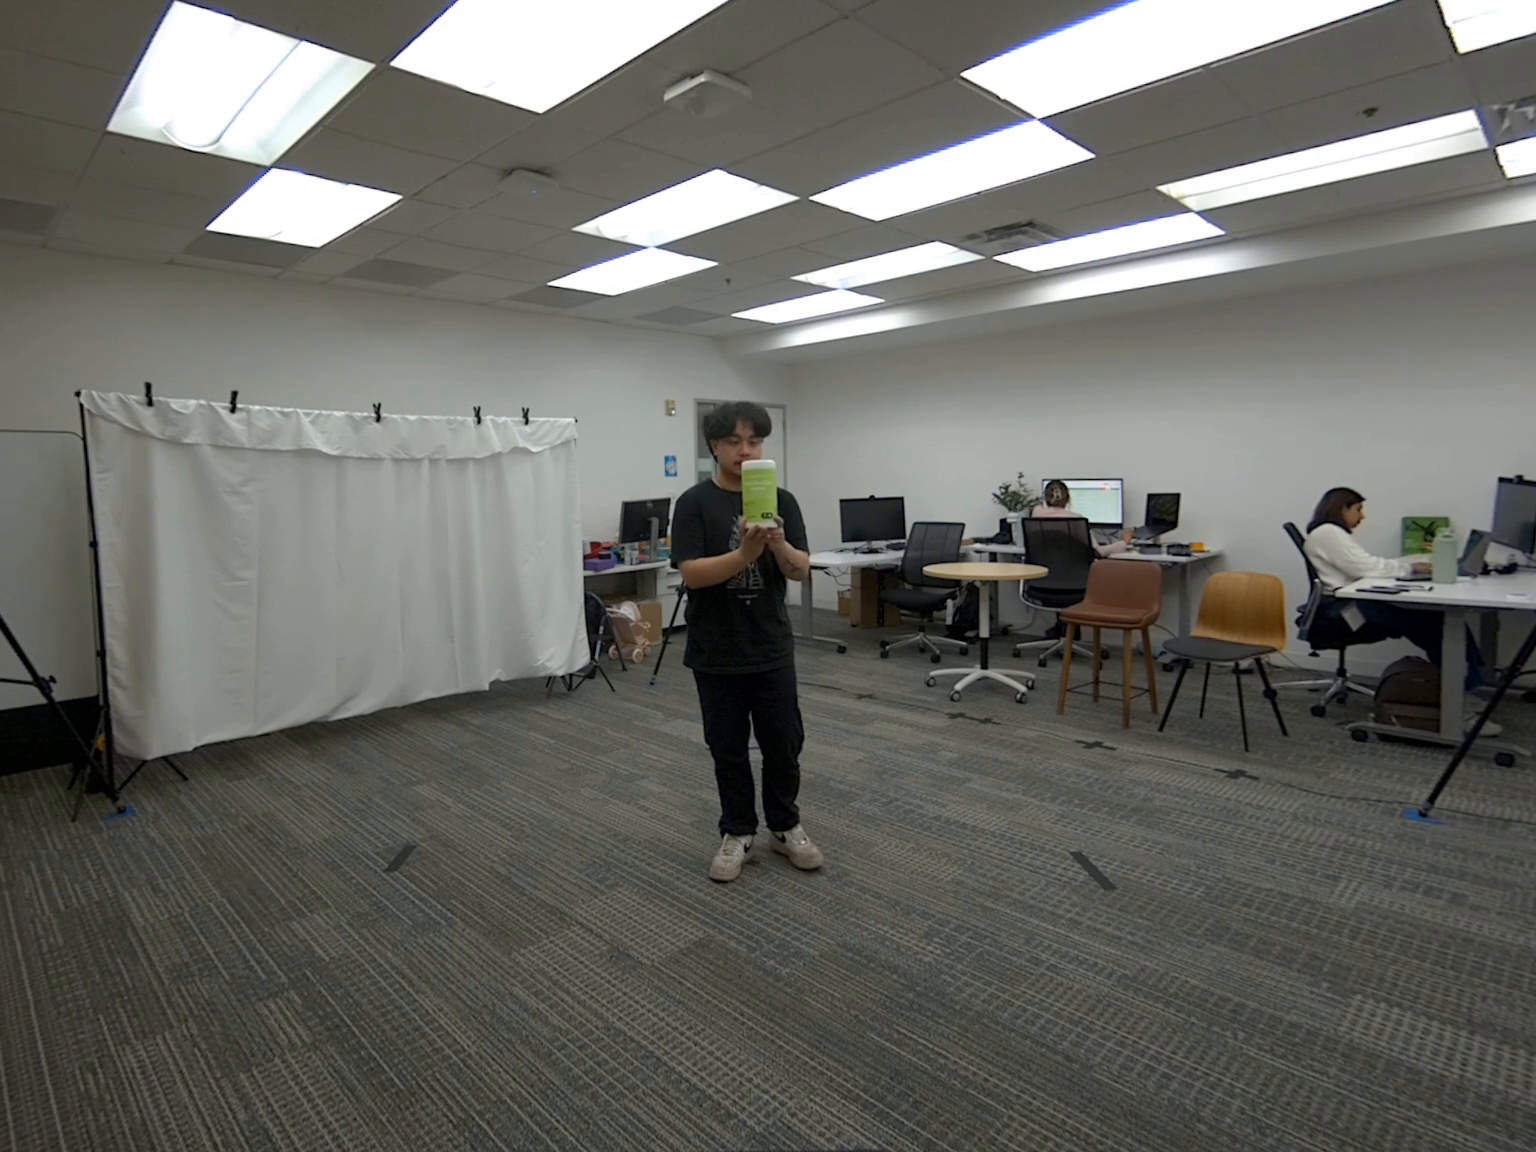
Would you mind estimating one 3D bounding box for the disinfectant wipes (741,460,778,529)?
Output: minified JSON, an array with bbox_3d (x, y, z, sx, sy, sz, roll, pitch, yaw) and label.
[{"bbox_3d":[-0.037,-0.255,2.724,0.118,0.217,0.118,-1,2,-2],"label":"disinfectant wipes"}]
